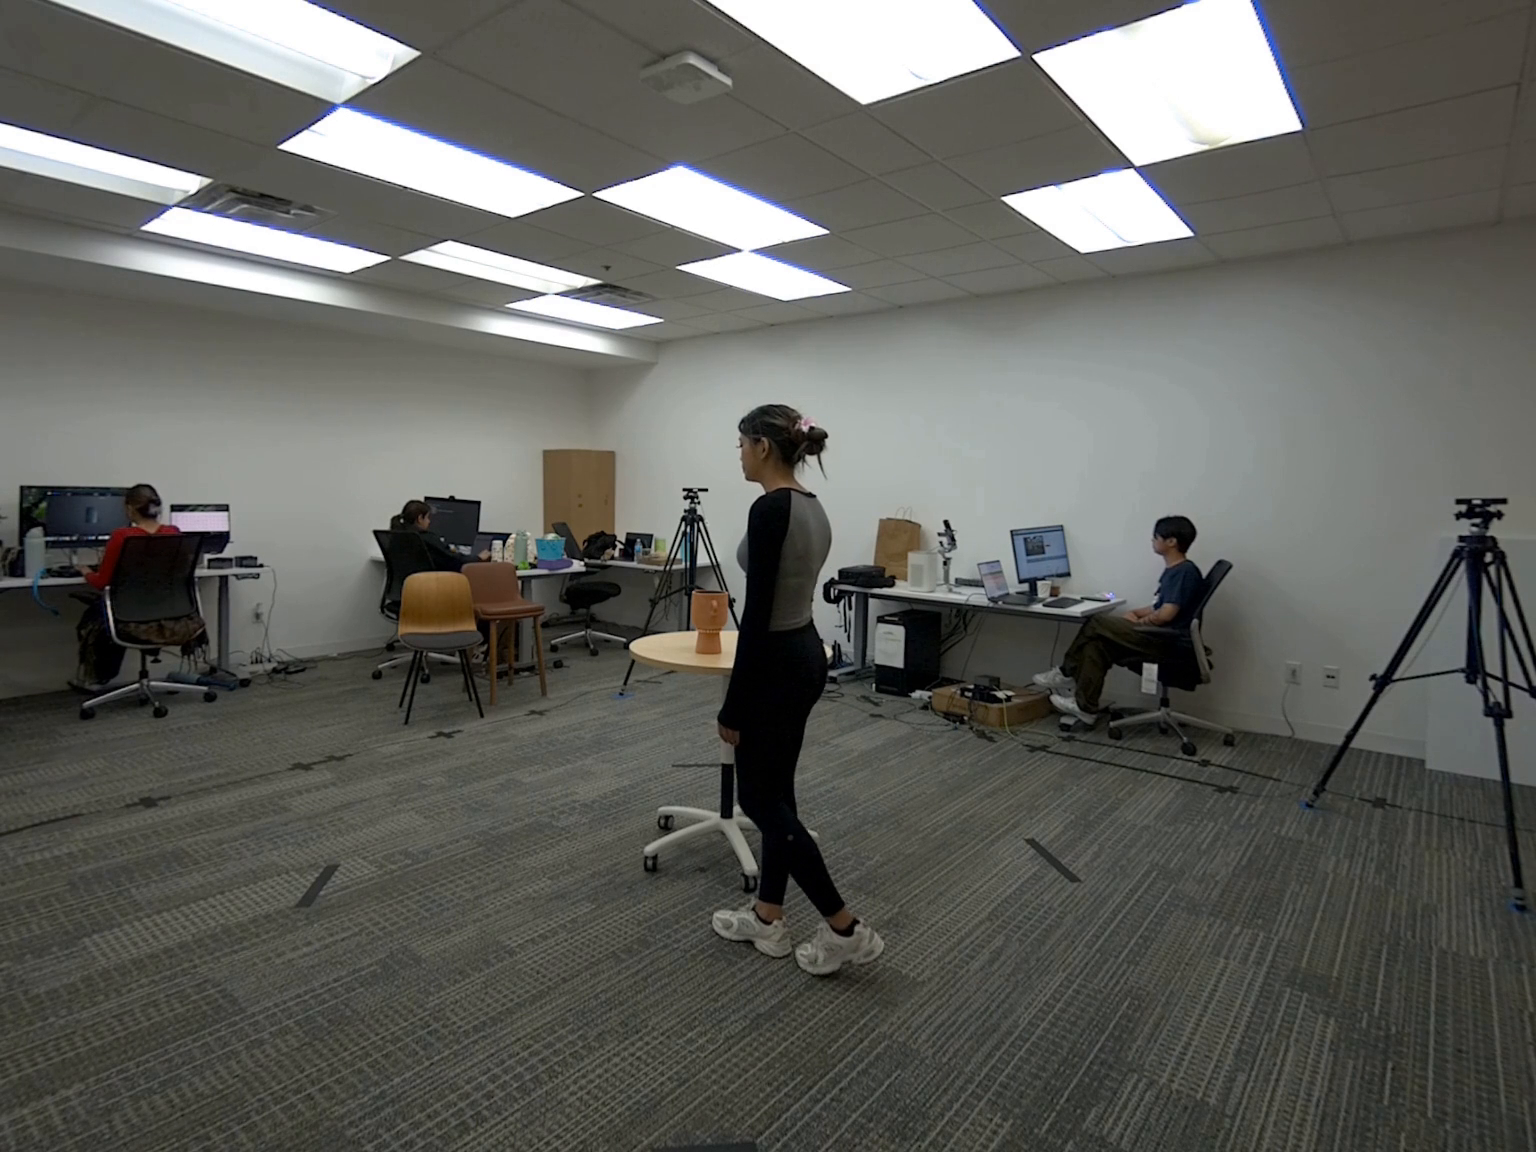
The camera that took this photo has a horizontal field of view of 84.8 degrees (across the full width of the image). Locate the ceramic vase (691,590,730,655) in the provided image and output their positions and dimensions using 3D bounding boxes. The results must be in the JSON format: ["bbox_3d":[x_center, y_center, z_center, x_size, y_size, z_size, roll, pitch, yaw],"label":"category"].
[{"bbox_3d":[-0.227,0.165,3.104,0.138,0.219,0.155,1,3,23],"label":"ceramic vase"}]
